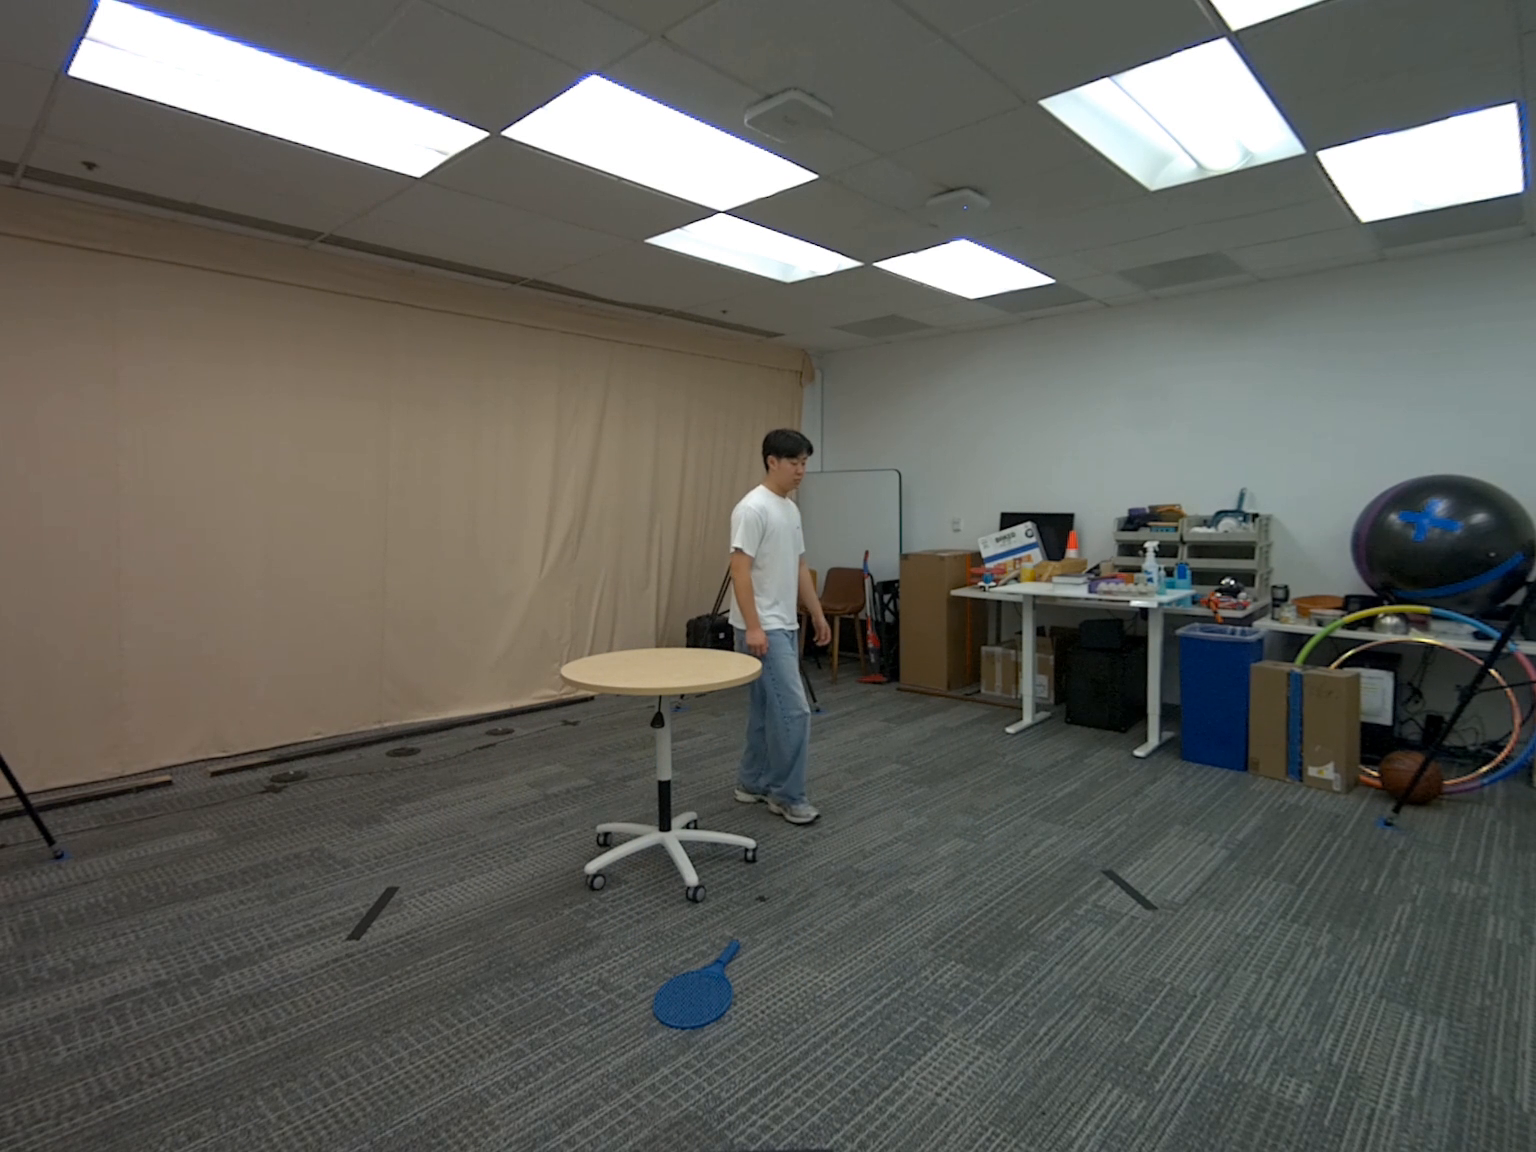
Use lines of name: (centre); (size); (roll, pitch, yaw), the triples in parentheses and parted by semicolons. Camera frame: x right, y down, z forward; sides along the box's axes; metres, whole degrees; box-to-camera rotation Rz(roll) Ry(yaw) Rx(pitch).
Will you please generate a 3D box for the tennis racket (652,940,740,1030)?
tennis racket: (-0.177, 1.176, 2.442); (0.219, 0.031, 0.423); (2, 7, 24)
